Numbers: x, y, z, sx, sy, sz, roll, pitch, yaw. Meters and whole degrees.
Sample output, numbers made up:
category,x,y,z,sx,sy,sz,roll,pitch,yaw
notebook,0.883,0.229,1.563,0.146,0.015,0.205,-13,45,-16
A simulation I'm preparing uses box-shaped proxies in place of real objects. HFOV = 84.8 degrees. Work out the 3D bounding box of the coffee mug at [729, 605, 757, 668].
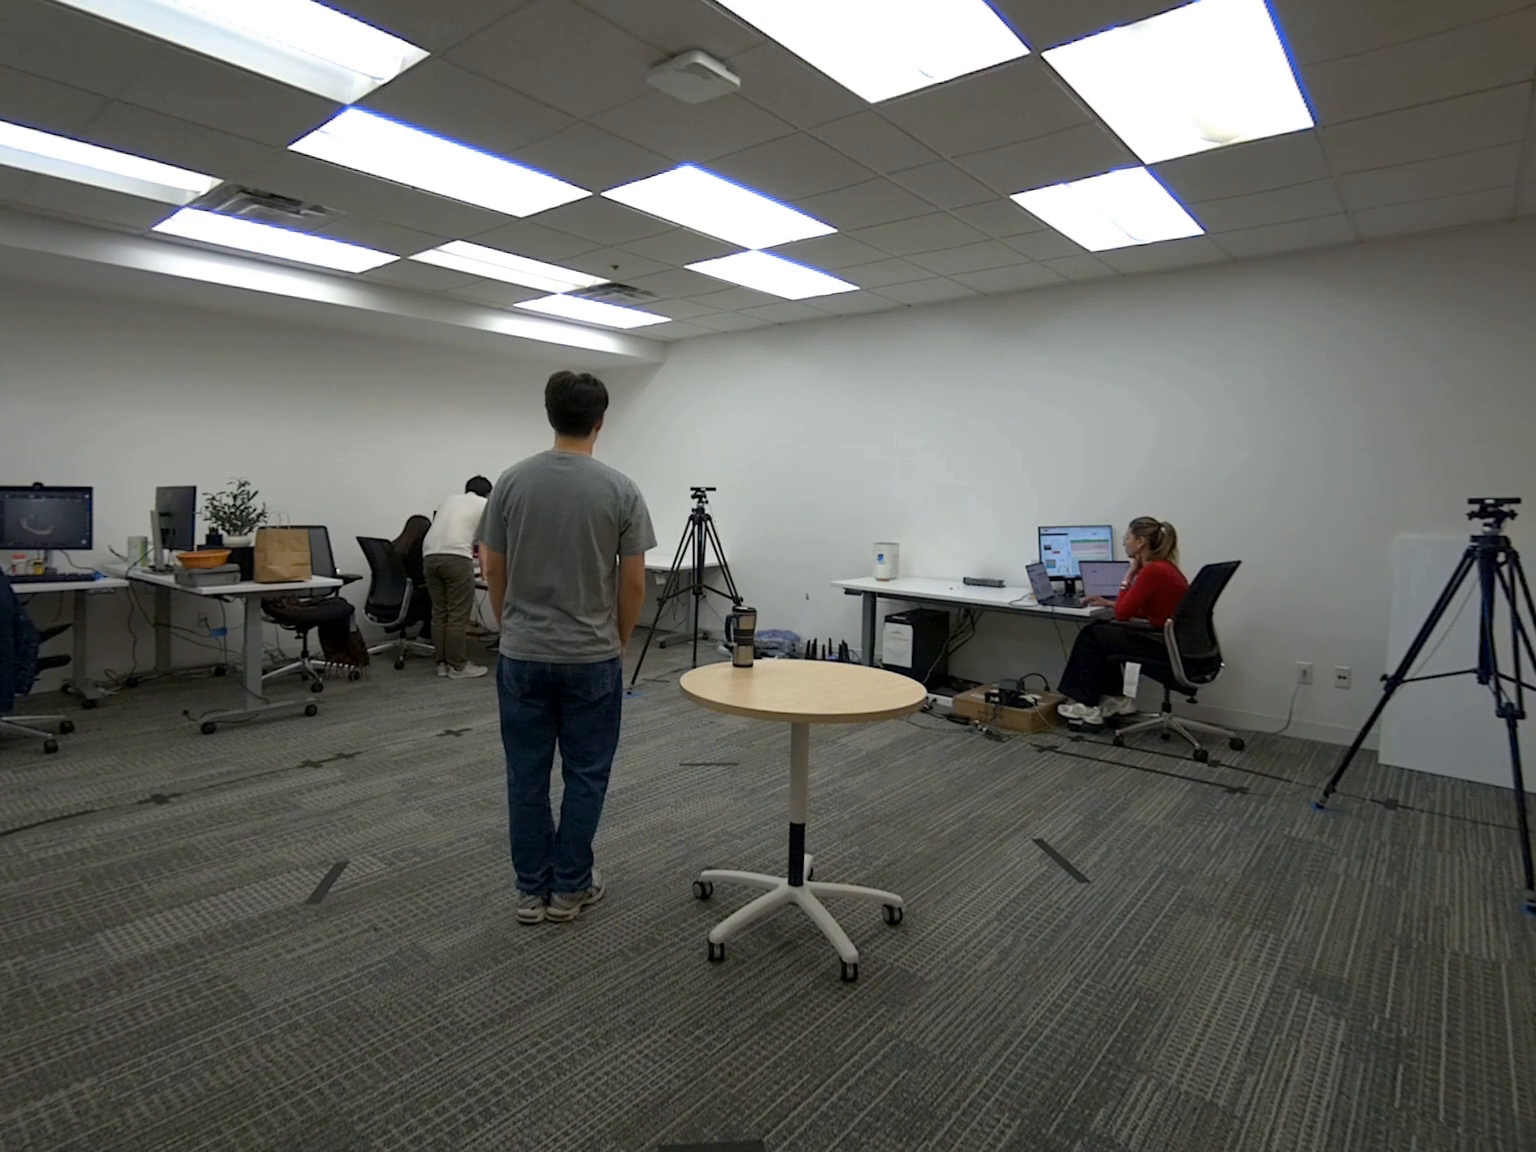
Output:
category,x,y,z,sx,sy,sz,roll,pitch,yaw
coffee mug,-0.115,0.211,2.895,0.119,0.202,0.091,0,5,-30
